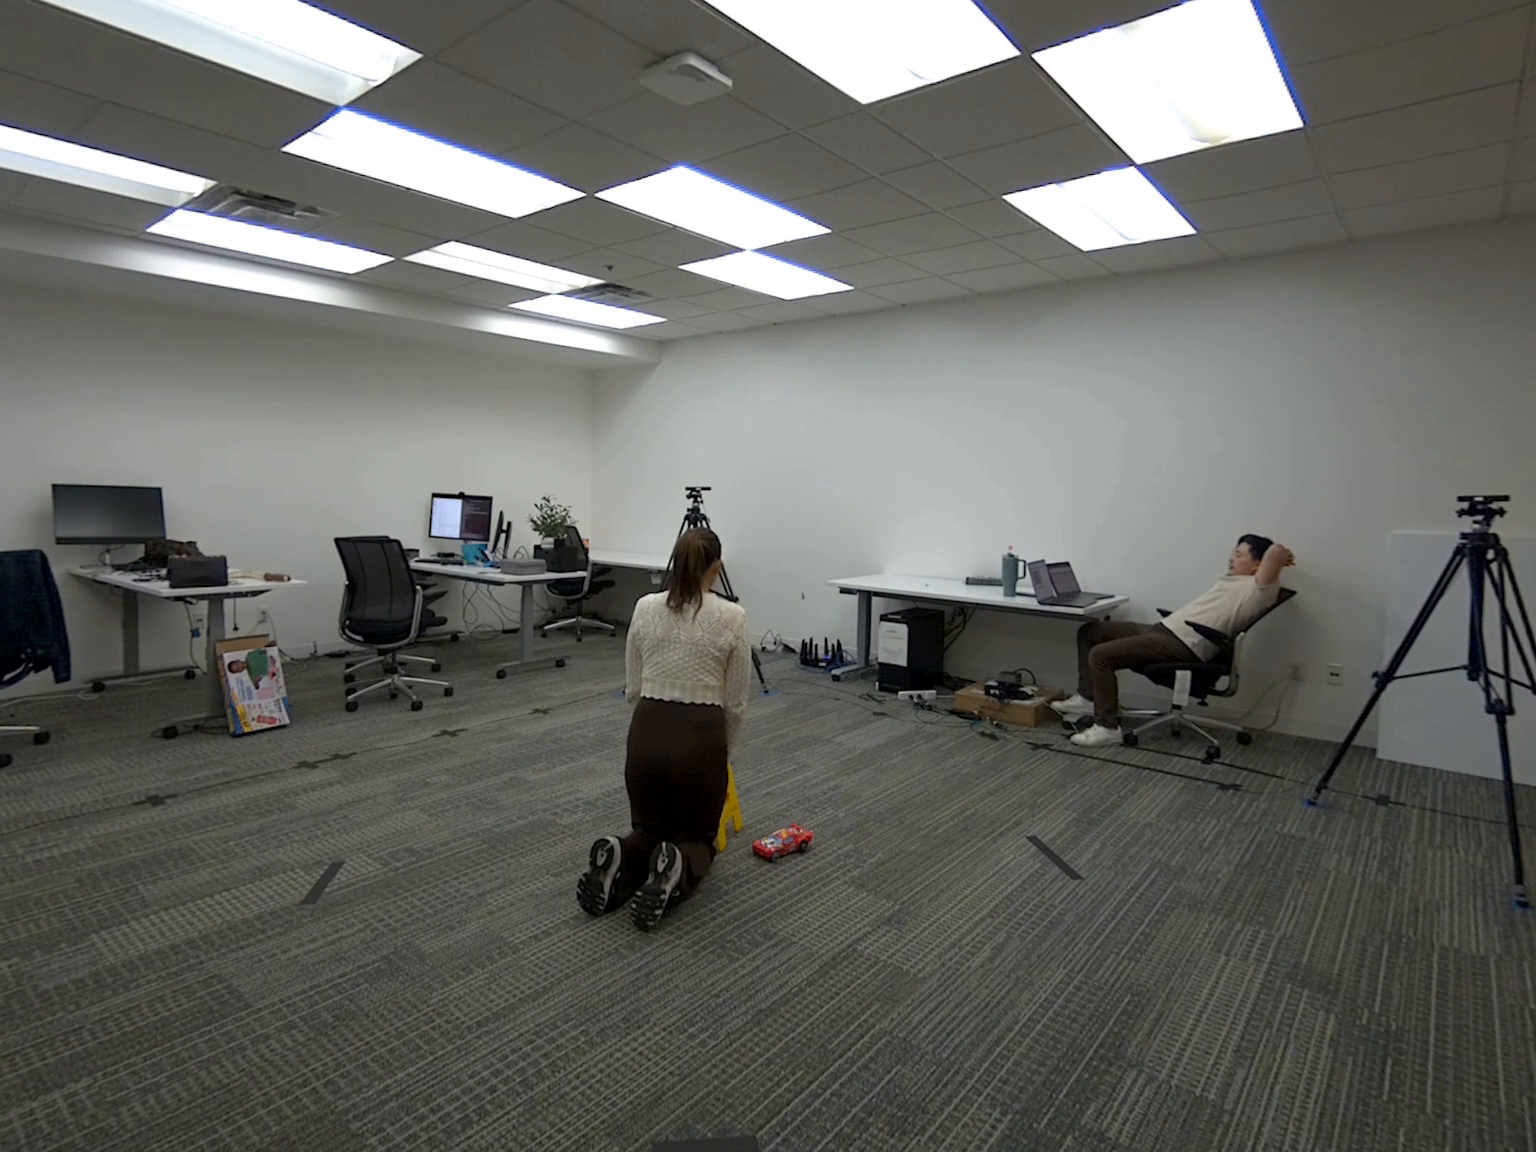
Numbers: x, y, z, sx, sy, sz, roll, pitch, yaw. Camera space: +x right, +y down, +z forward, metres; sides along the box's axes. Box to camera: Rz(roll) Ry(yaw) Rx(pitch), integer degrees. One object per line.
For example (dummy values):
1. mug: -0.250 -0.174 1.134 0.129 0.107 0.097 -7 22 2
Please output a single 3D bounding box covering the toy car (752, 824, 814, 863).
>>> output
1. toy car: 0.055 1.026 3.264 0.249 0.082 0.135 -17 16 -37
